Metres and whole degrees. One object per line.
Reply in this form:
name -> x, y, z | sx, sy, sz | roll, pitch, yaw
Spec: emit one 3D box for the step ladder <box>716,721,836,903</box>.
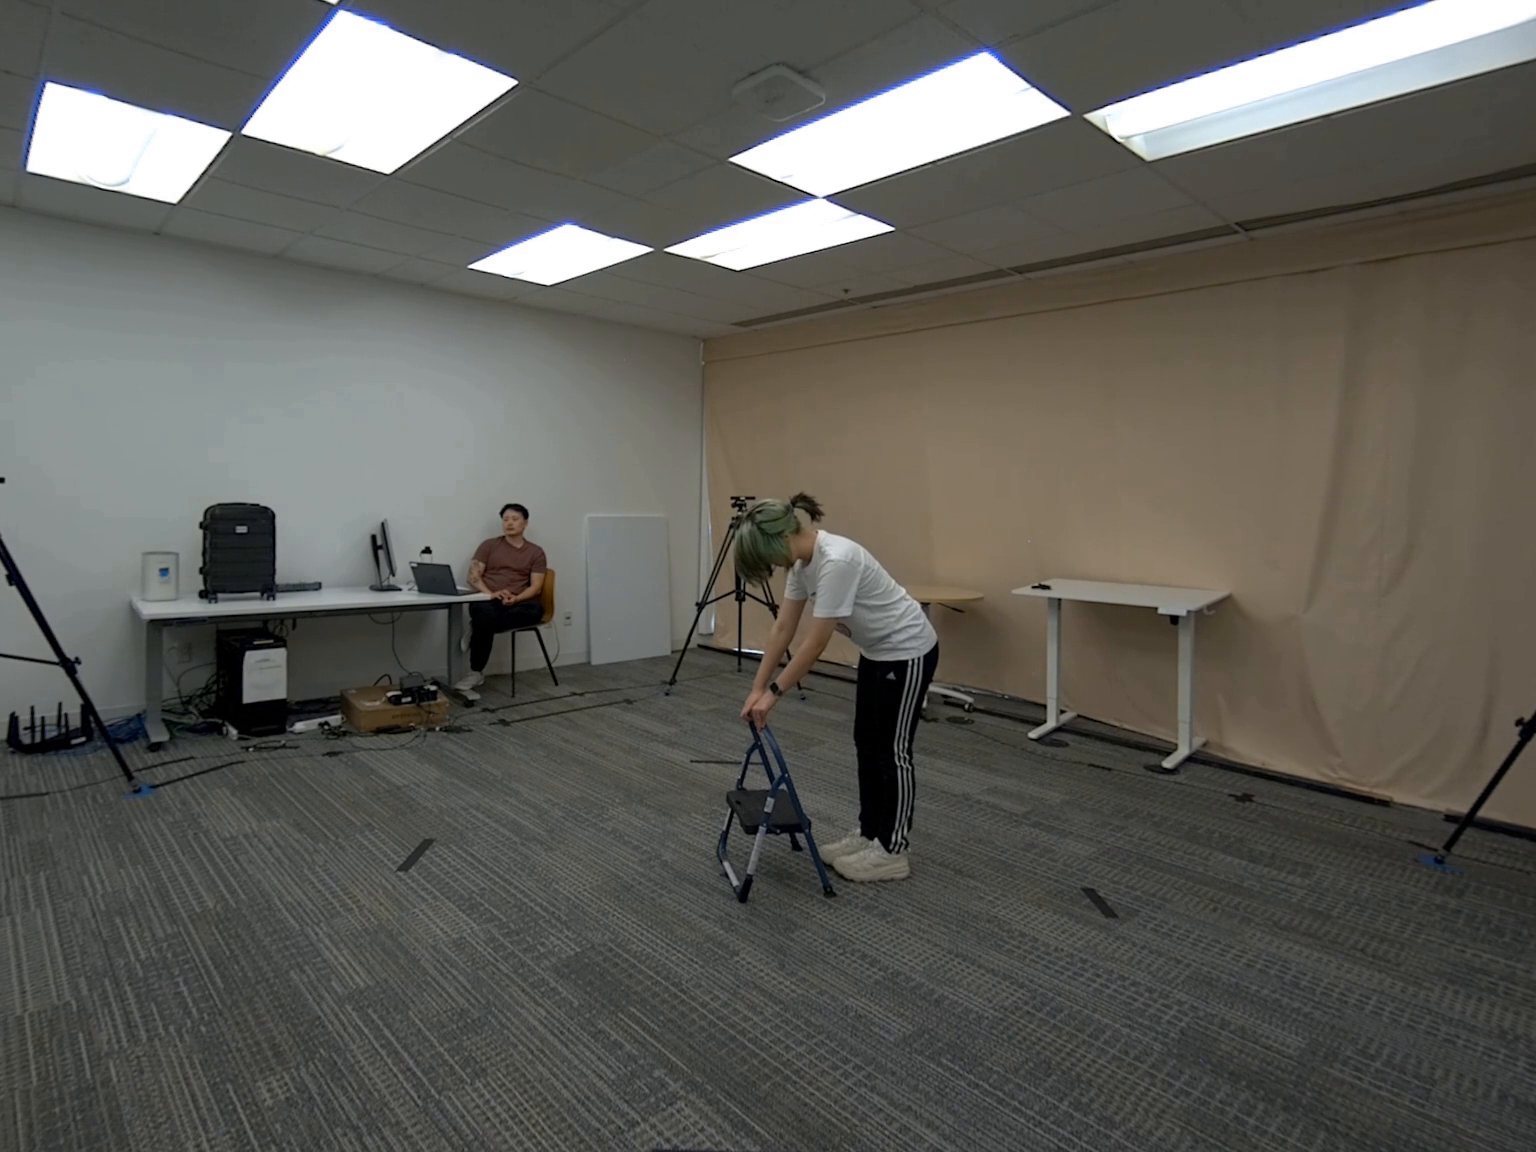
step ladder -> 0.019, 0.808, 3.104 | 0.345, 0.605, 0.436 | 1, 3, -15
